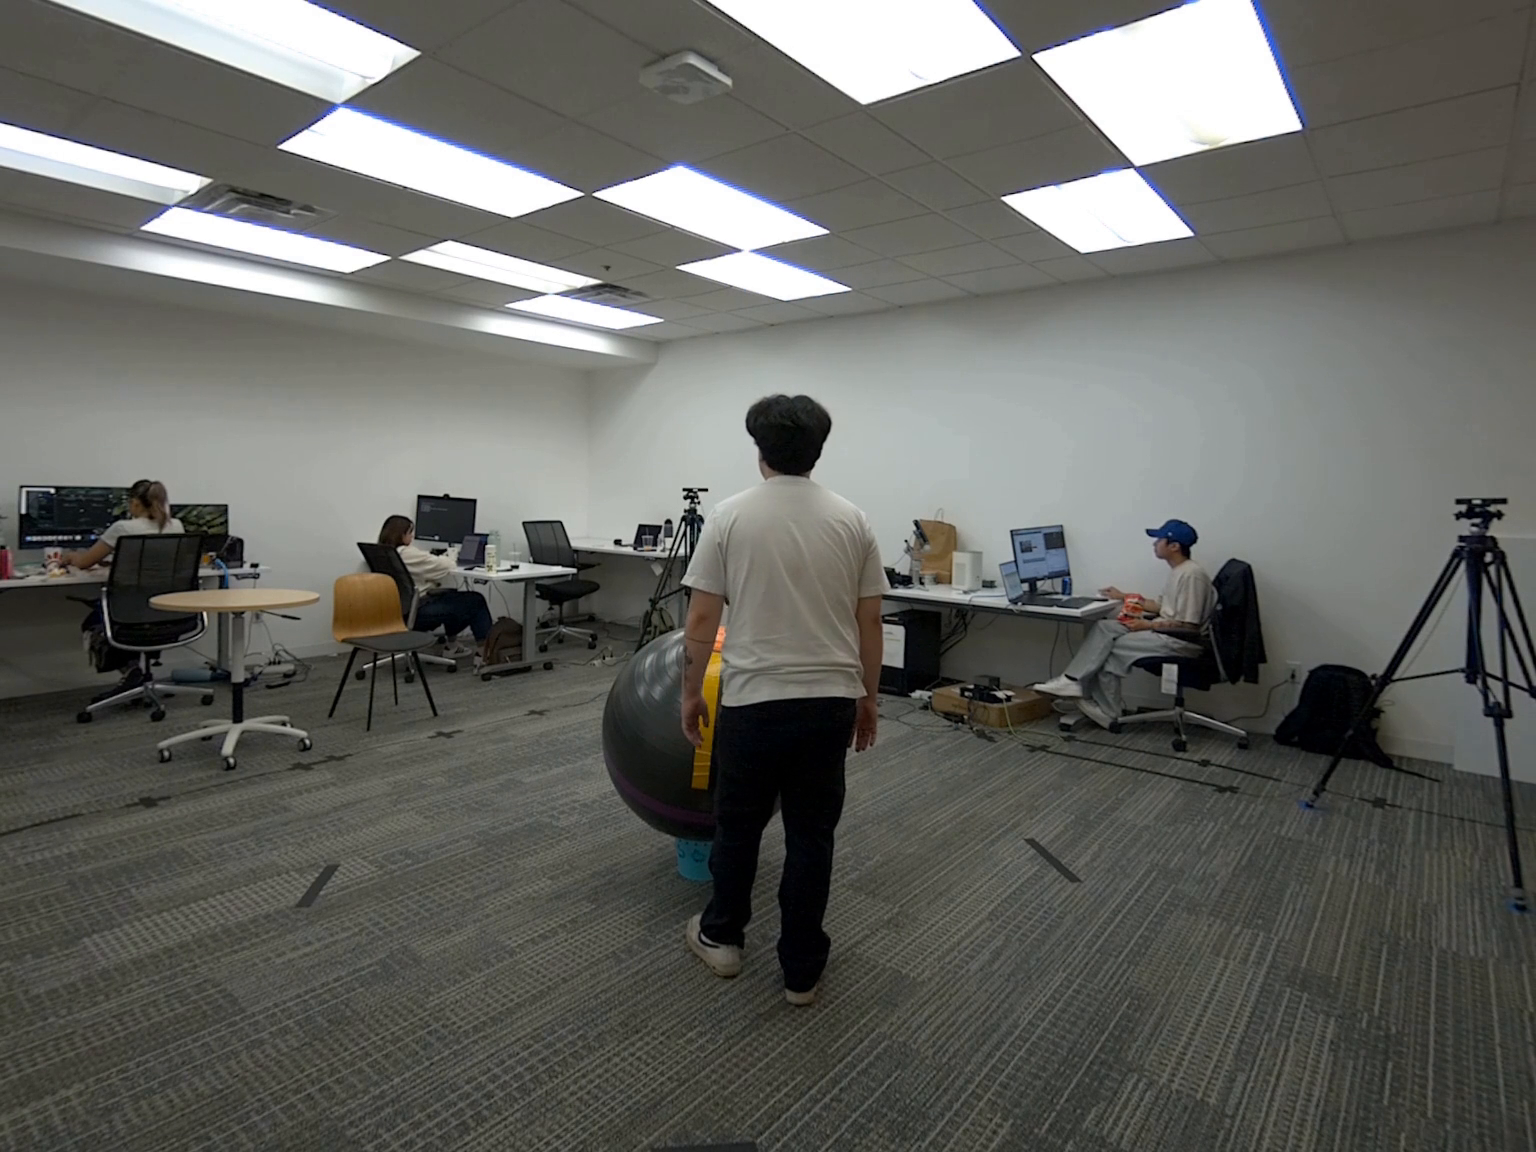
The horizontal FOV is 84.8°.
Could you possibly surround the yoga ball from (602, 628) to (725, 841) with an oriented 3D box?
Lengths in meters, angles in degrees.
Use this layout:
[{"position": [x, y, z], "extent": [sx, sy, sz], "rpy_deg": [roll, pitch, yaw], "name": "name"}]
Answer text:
[{"position": [-0.225, 0.559, 3.086], "extent": [0.757, 0.756, 0.761], "rpy_deg": [1, 4, -2], "name": "yoga ball"}]
